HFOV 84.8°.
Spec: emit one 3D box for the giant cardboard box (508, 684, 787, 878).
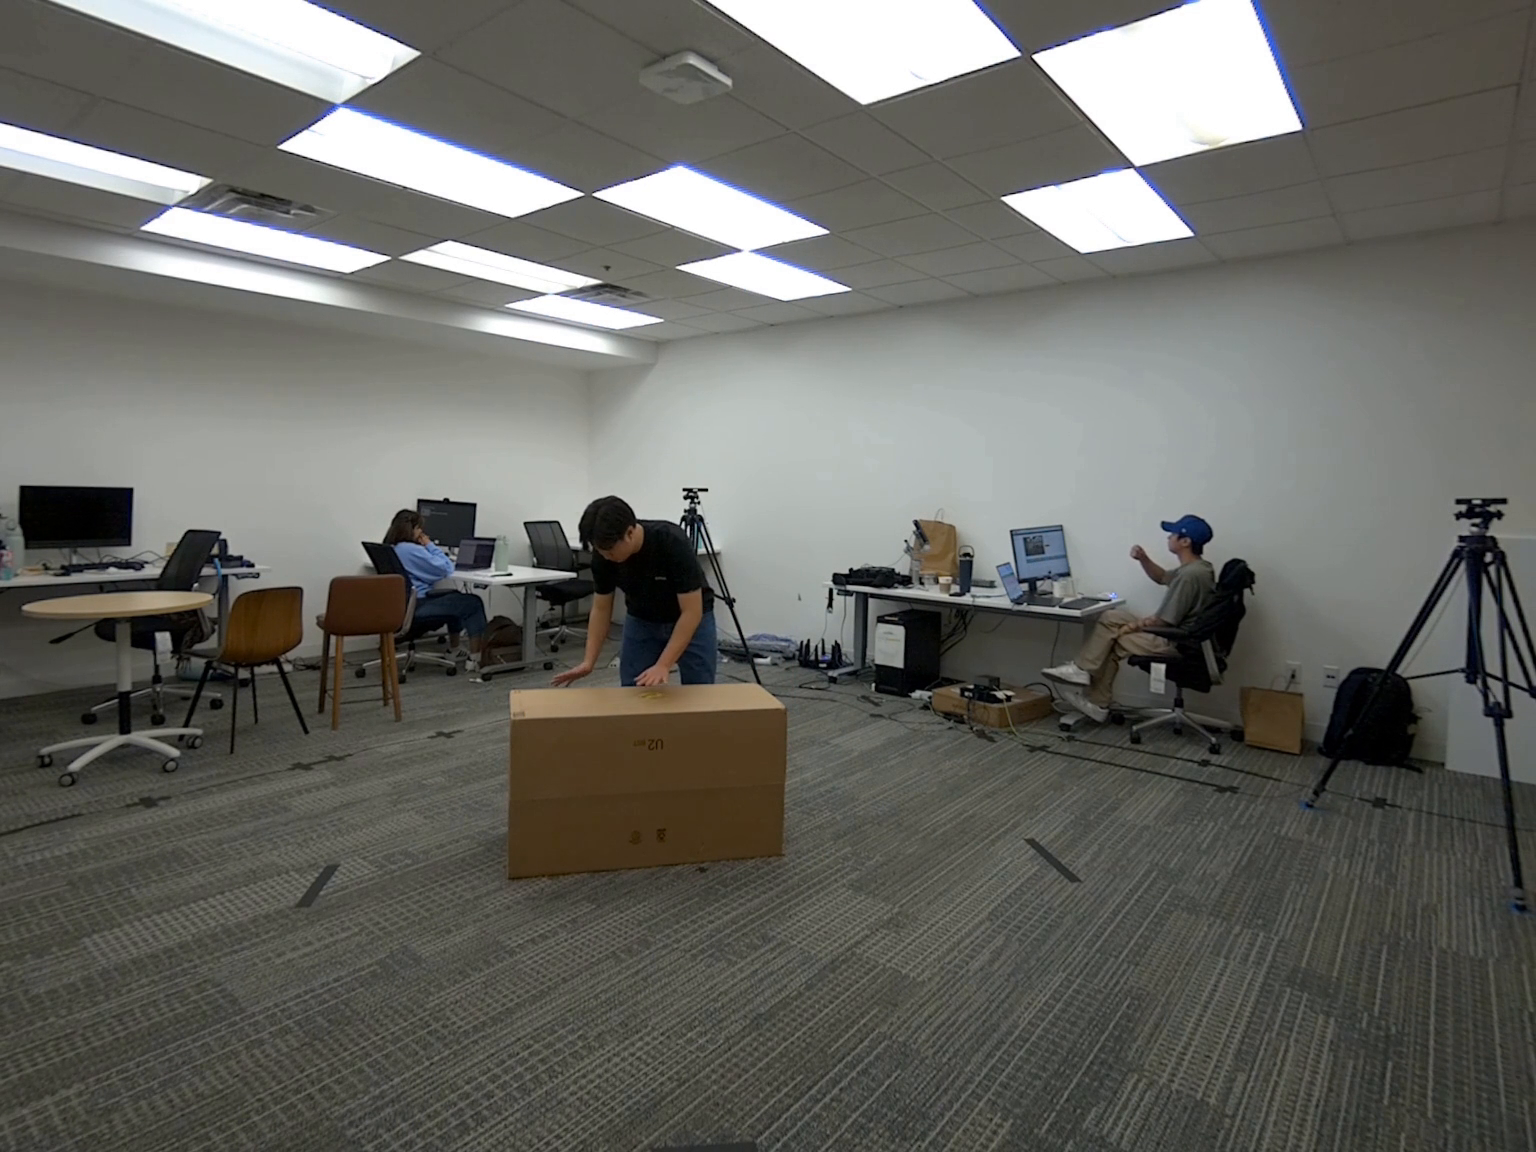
[{"bbox_3d":[-0.491,0.756,3.305,1.011,0.583,0.455,0,2,-15],"label":"giant cardboard box"}]
